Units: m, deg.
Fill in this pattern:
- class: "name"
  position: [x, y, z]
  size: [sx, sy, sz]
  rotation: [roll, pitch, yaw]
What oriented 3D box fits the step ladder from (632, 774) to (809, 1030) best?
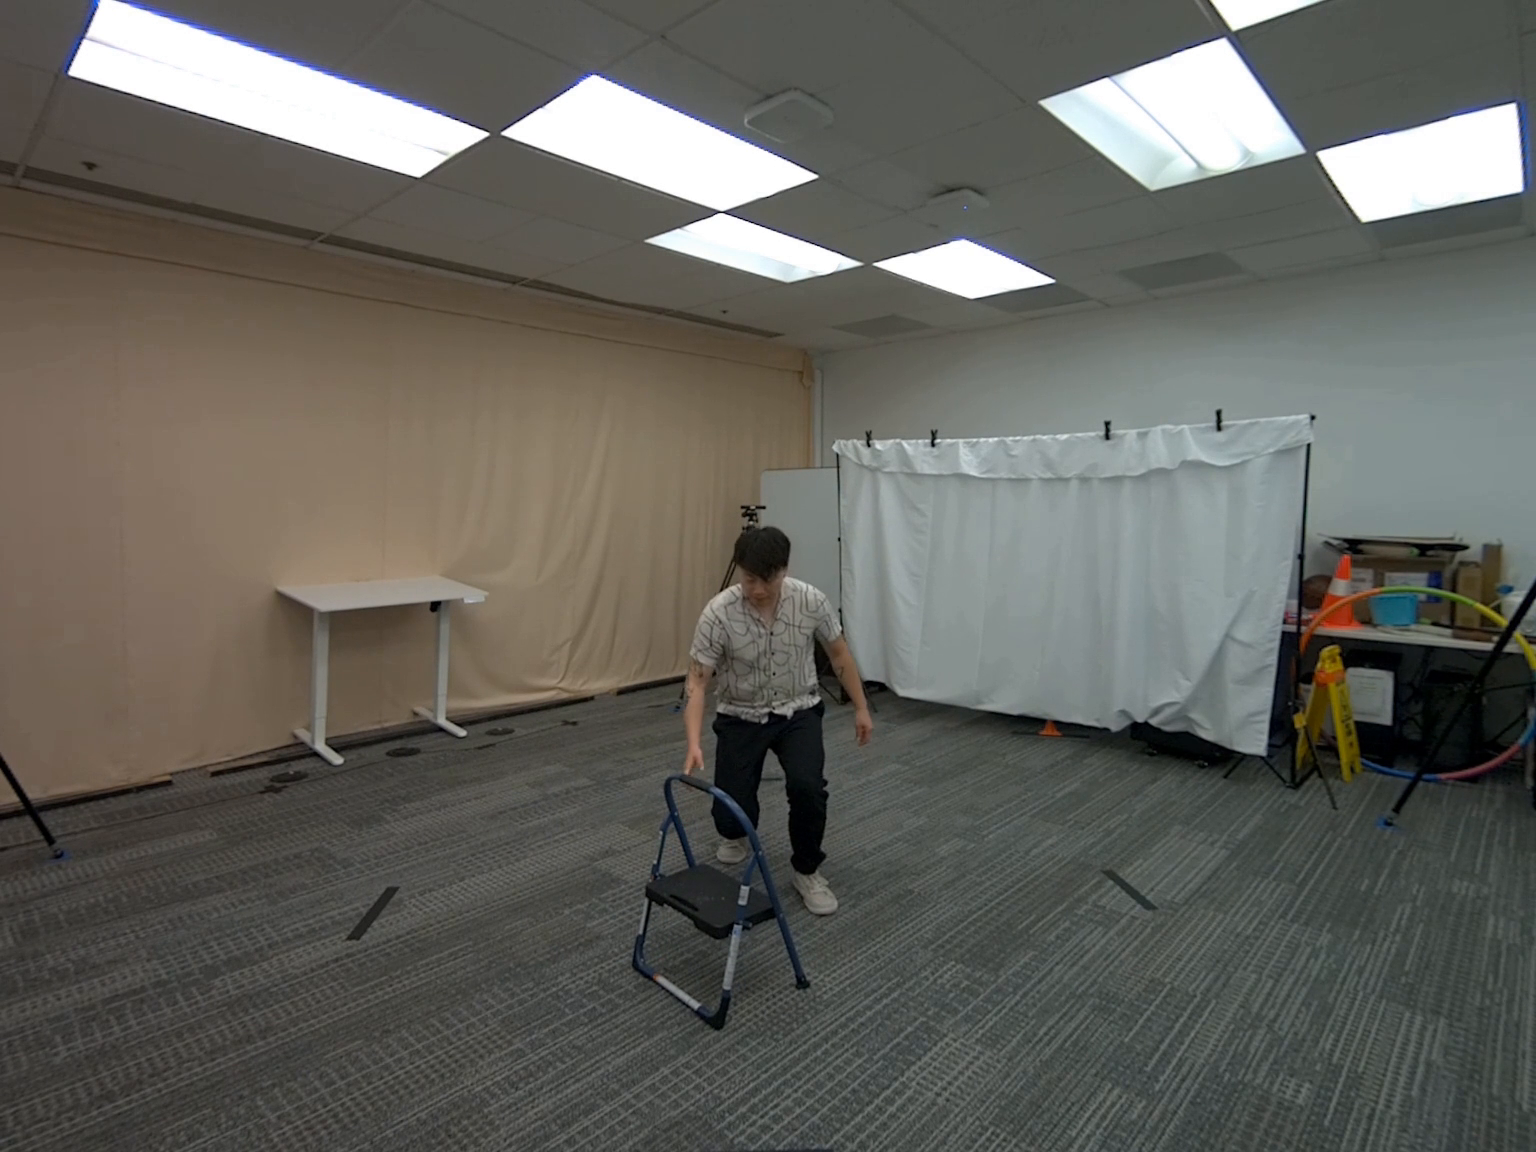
- class: "step ladder"
  position: [-0.148, 0.879, 2.480]
  size: [0.338, 0.604, 0.445]
  rotation: [-3, 5, -42]
